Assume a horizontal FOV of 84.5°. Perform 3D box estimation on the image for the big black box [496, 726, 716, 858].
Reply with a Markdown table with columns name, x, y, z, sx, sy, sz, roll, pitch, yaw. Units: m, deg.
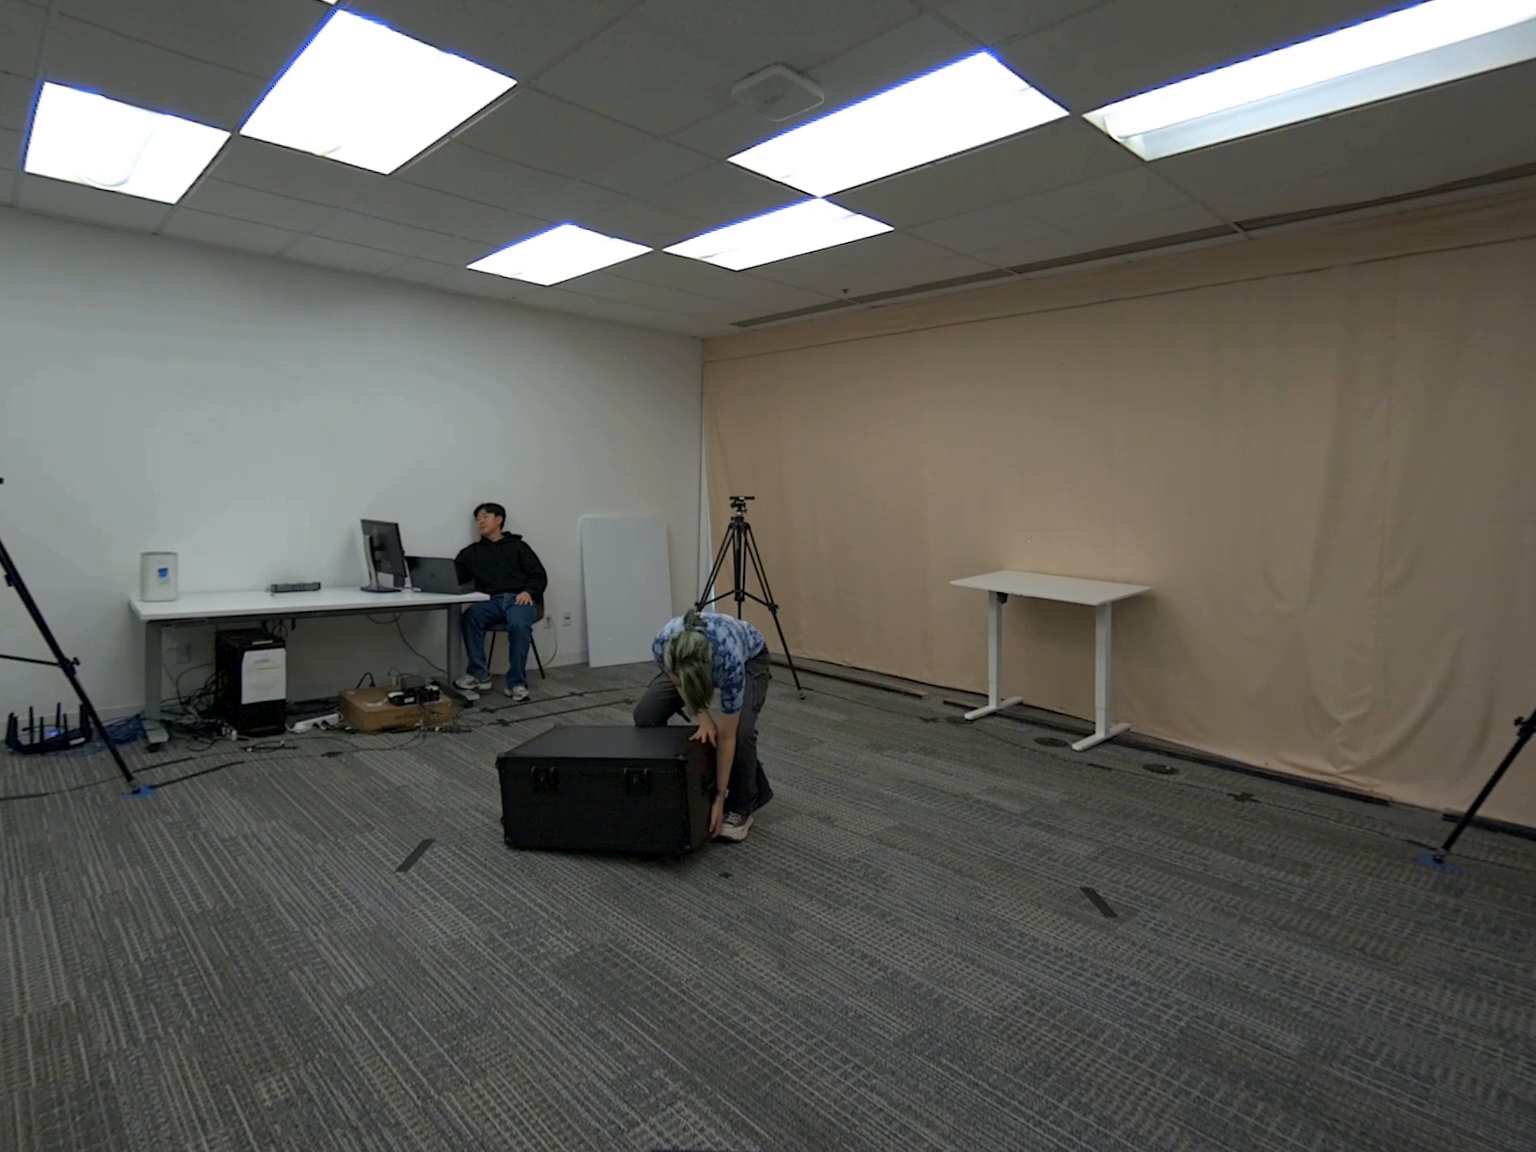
| name | x | y | z | sx | sy | sz | roll | pitch | yaw |
| --- | --- | --- | --- | --- | --- | --- | --- | --- | --- |
| big black box | -0.648 | 0.840 | 3.402 | 0.873 | 0.395 | 0.515 | -1 | 4 | 17 |
